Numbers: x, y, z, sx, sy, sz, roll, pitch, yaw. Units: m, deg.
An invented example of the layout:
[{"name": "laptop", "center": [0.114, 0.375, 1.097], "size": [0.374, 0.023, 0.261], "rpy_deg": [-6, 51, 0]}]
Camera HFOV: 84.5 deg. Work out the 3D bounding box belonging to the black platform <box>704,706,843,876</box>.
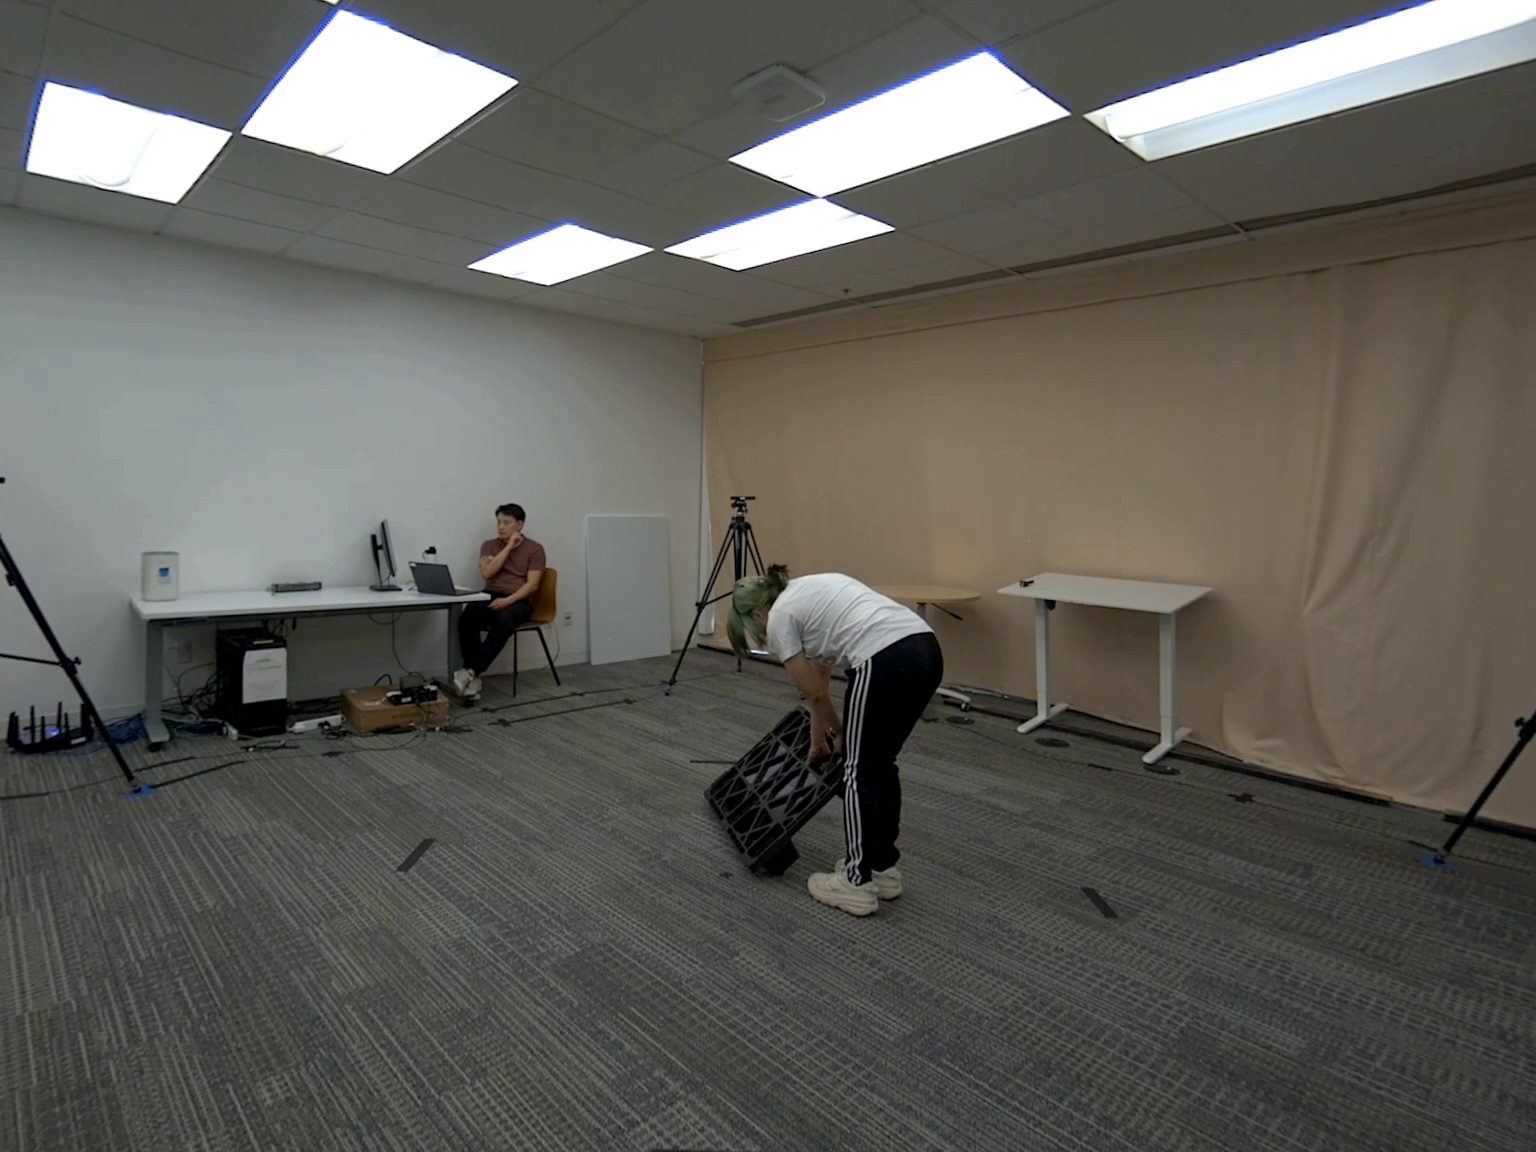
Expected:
[{"name": "black platform", "center": [0.071, 0.866, 3.487], "size": [0.604, 0.141, 0.817], "rpy_deg": [-42, 14, -8]}]
